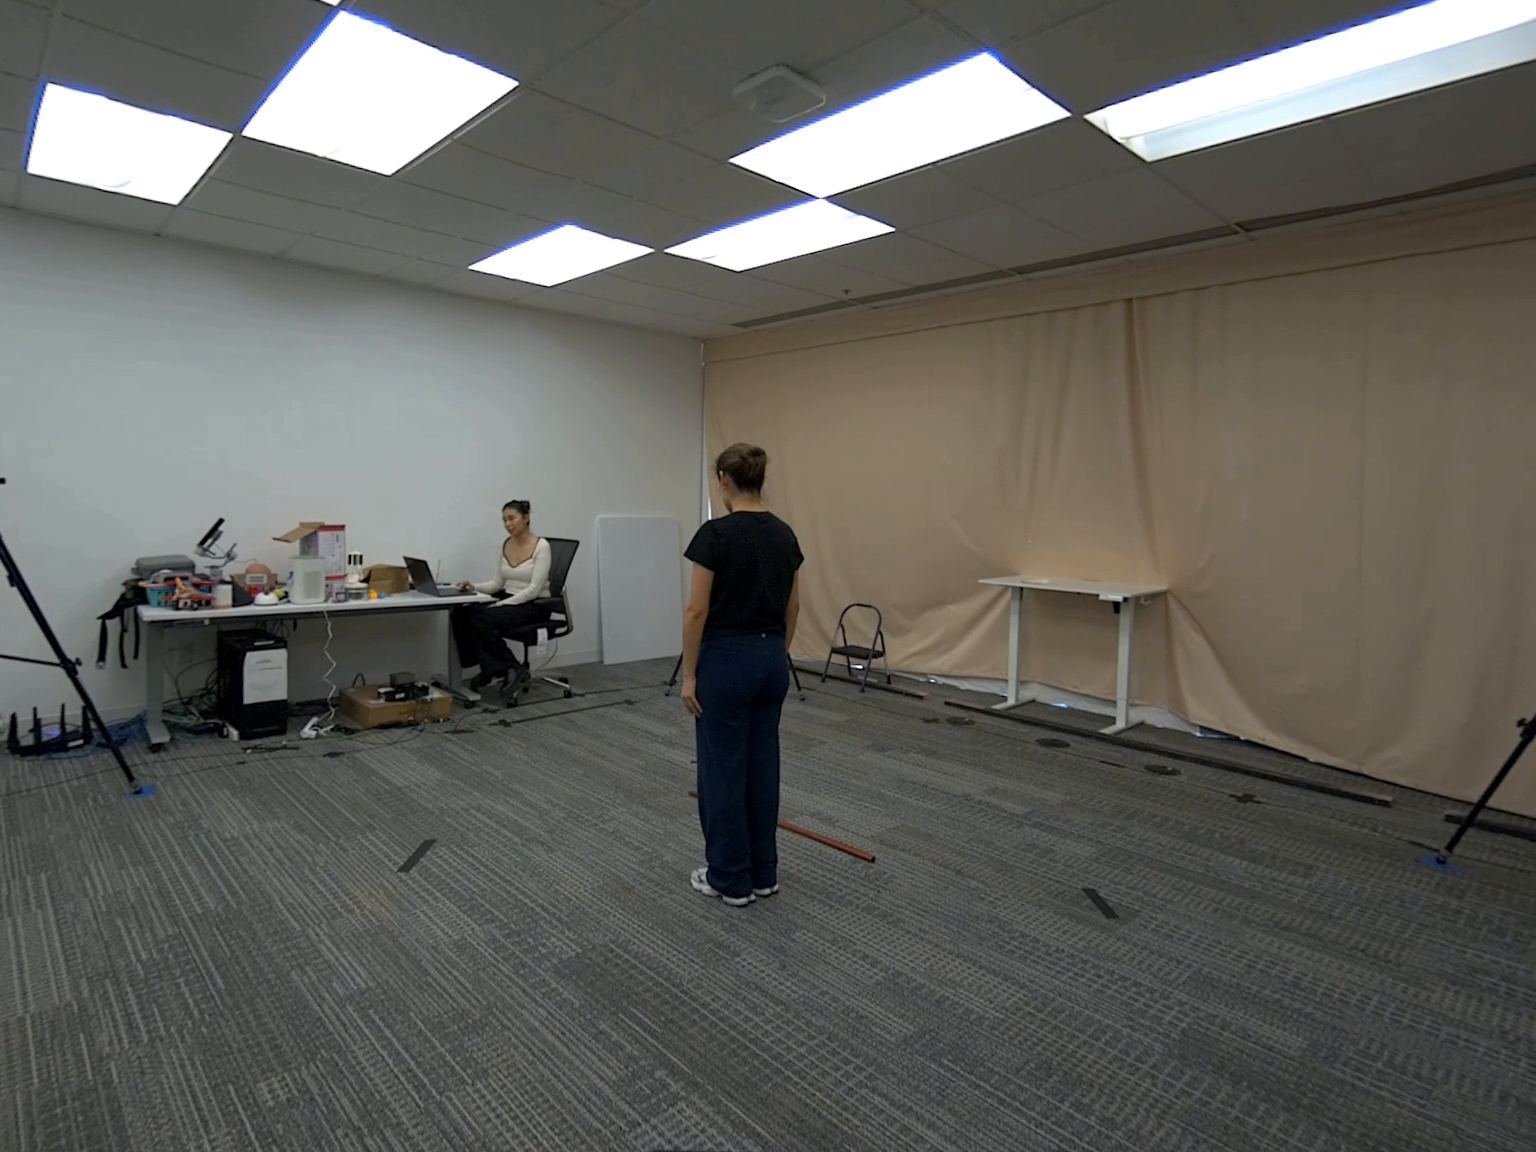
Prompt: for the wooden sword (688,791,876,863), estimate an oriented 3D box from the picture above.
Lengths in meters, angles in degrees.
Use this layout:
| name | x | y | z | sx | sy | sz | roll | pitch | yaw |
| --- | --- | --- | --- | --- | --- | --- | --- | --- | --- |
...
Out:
| name | x | y | z | sx | sy | sz | roll | pitch | yaw |
| --- | --- | --- | --- | --- | --- | --- | --- | --- | --- |
| wooden sword | 0.018 | 1.049 | 3.580 | 1.051 | 0.024 | 0.050 | 6 | -5 | 41 |
